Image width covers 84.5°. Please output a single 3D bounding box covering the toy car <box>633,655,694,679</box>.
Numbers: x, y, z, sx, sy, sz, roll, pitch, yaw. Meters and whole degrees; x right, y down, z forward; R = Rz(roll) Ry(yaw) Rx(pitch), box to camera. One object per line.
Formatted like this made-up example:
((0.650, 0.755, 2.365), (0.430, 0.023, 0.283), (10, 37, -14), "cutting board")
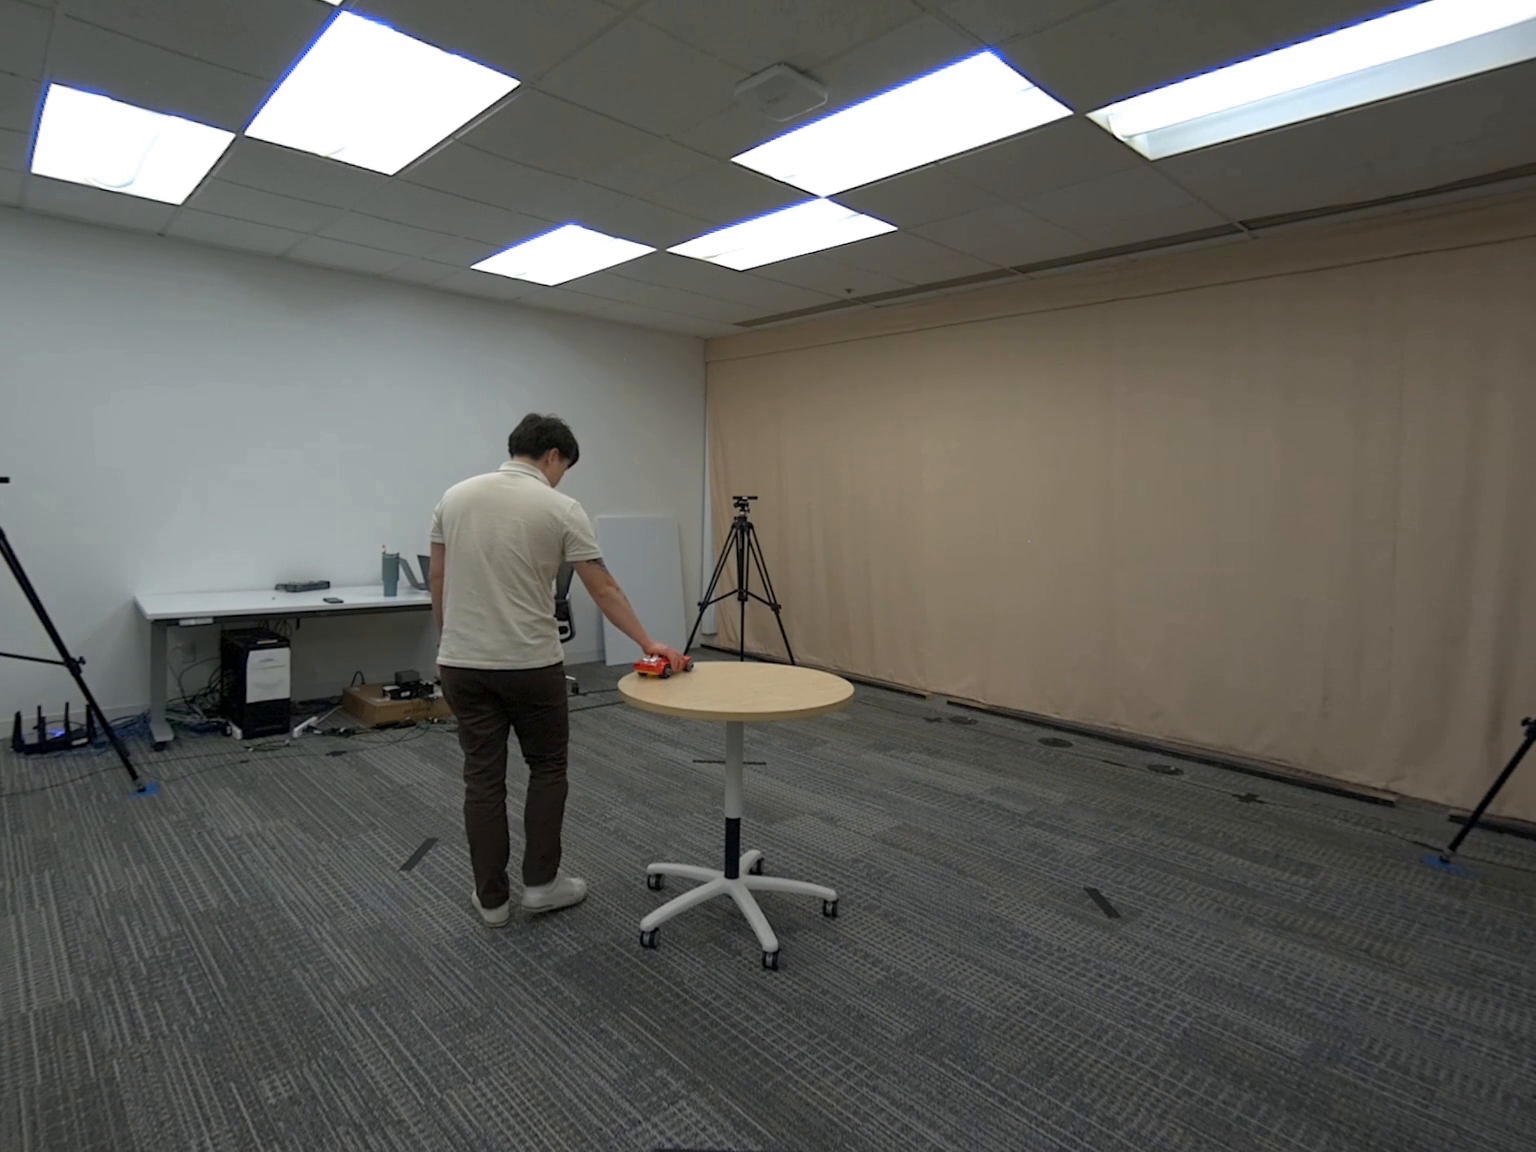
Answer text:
((-0.373, 0.307, 2.871), (0.133, 0.083, 0.248), (4, -7, 26), "toy car")
